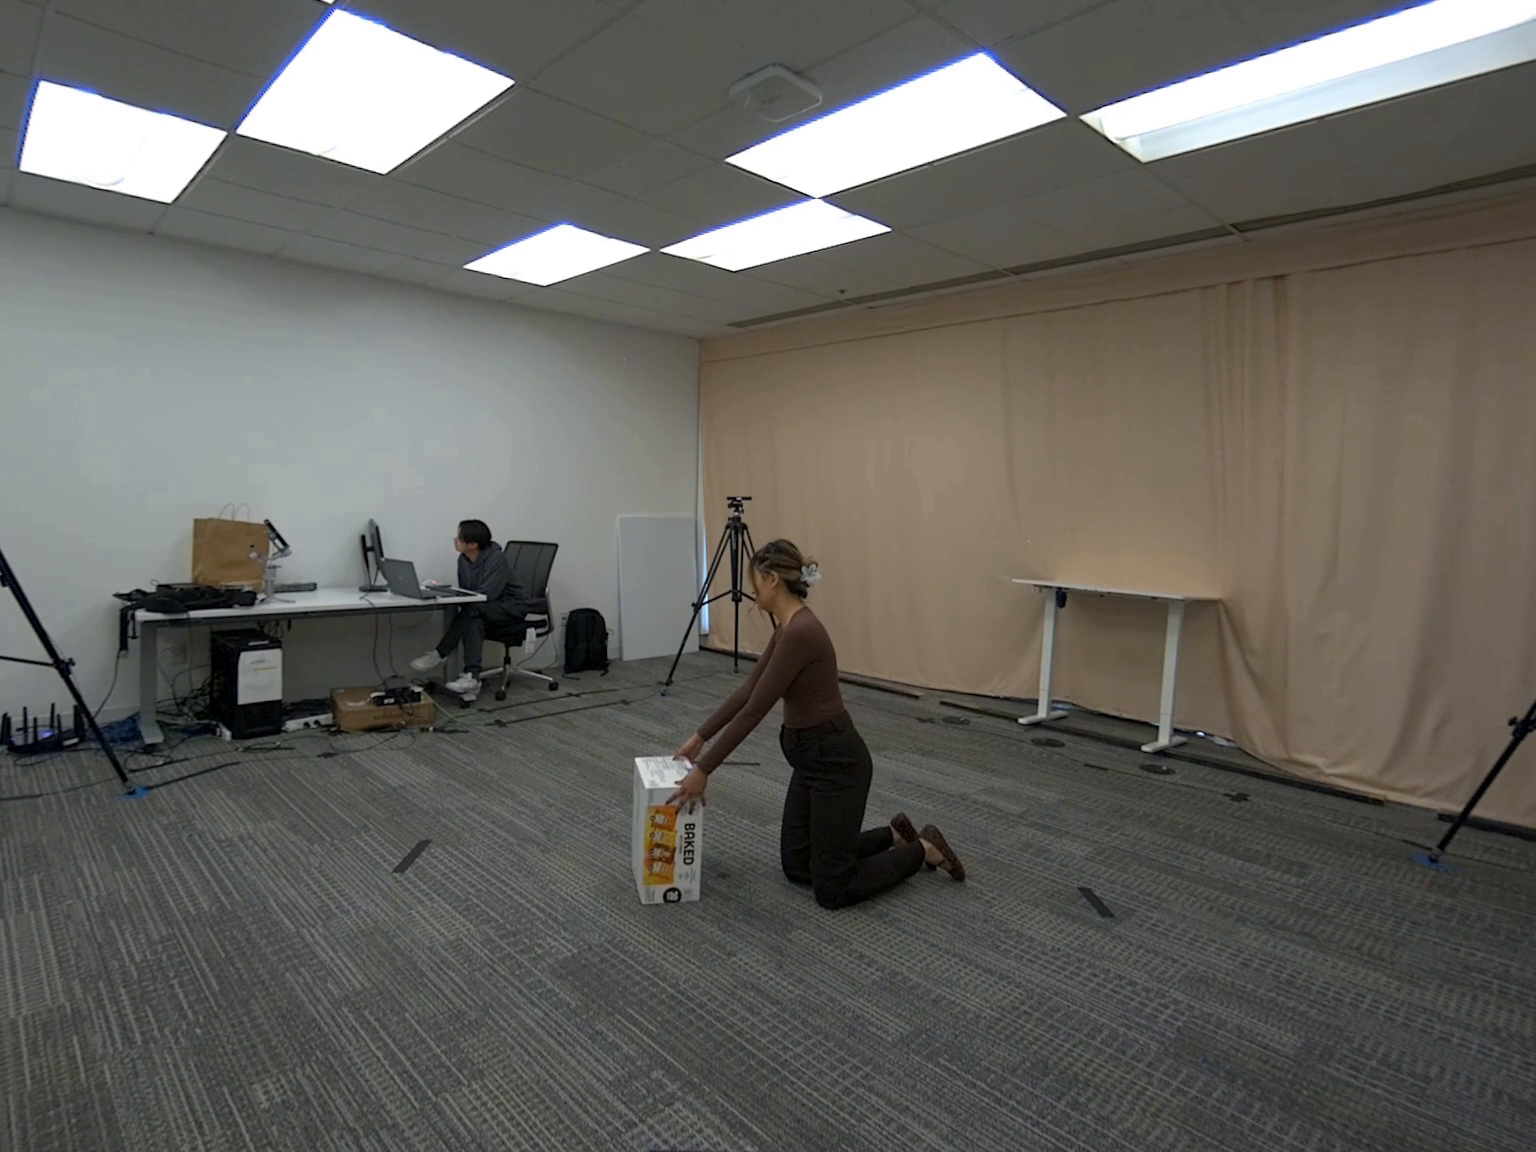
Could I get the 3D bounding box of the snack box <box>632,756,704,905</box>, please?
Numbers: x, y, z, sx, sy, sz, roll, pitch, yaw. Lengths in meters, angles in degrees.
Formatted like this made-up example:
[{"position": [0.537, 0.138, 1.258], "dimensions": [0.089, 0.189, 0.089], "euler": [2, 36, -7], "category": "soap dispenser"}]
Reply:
[{"position": [-0.373, 0.899, 3.040], "dimensions": [0.203, 0.404, 0.345], "euler": [2, 4, -16], "category": "snack box"}]
